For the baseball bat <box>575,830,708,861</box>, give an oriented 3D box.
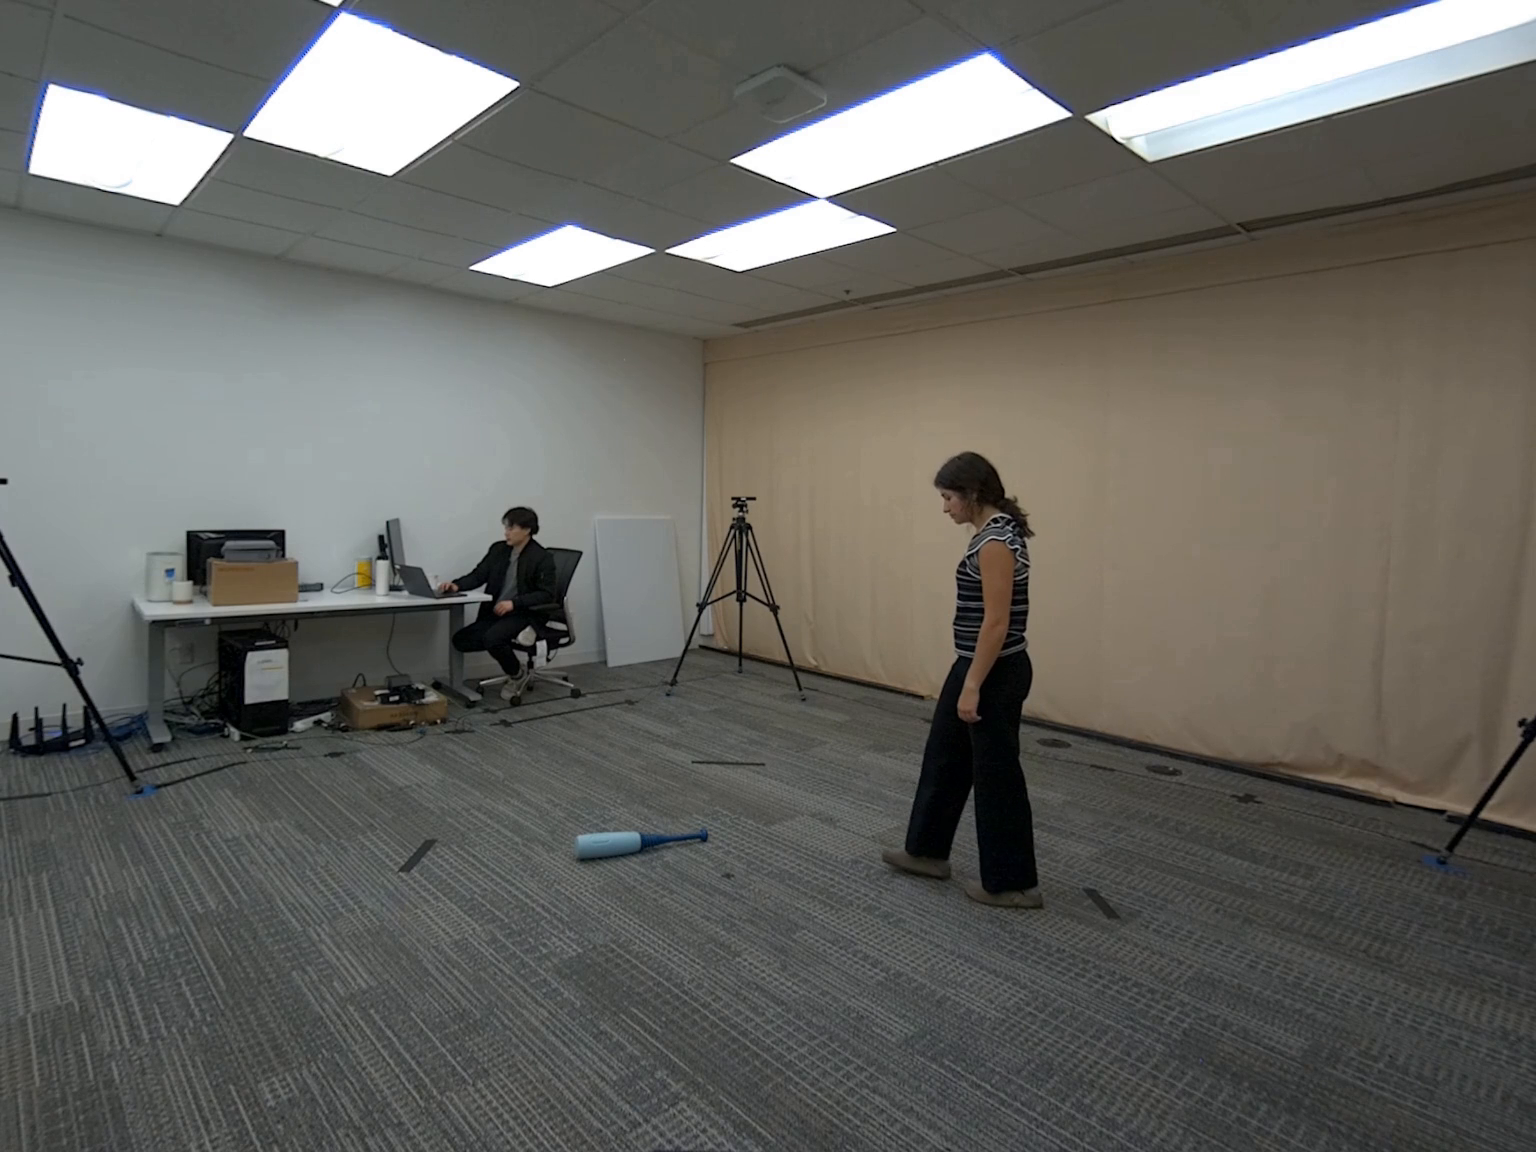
[{"bbox_3d":[-0.495,1.041,3.310,0.533,0.089,0.091,3,3,-23],"label":"baseball bat"}]
